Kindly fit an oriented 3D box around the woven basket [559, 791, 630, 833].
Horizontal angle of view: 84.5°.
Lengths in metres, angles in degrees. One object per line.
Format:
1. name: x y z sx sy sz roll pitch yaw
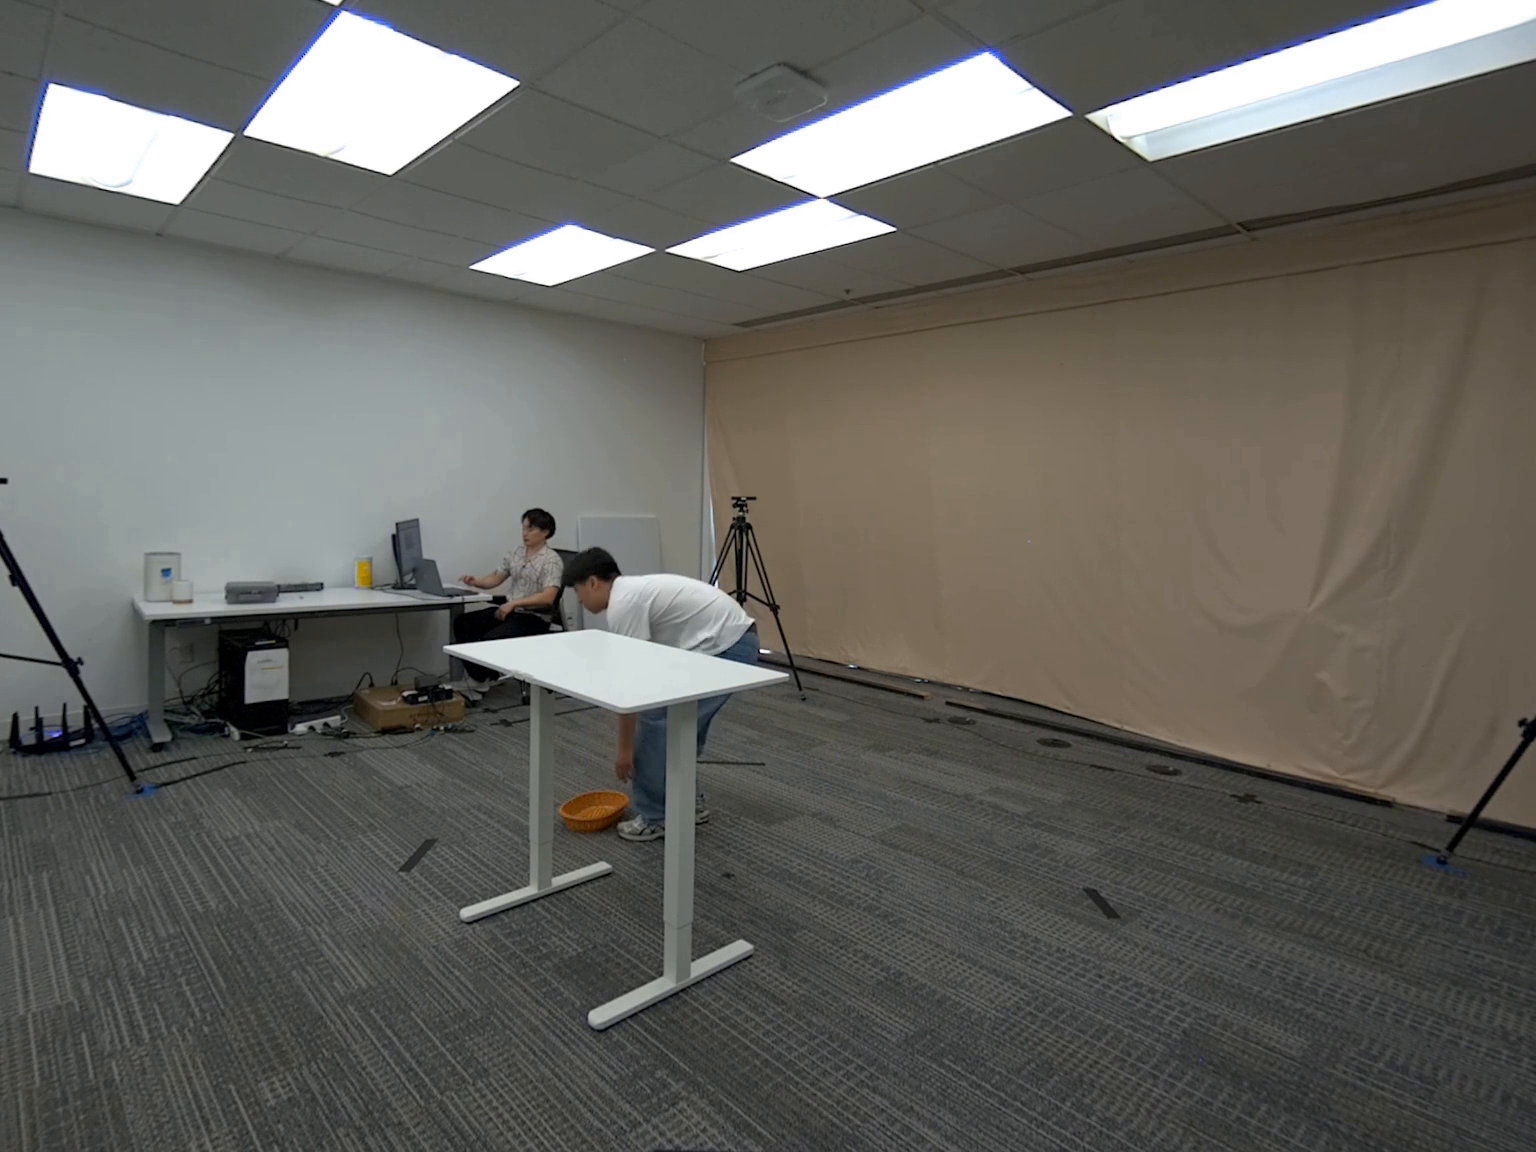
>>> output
1. woven basket: -0.740 0.997 3.604 0.257 0.073 0.345 3 6 22
